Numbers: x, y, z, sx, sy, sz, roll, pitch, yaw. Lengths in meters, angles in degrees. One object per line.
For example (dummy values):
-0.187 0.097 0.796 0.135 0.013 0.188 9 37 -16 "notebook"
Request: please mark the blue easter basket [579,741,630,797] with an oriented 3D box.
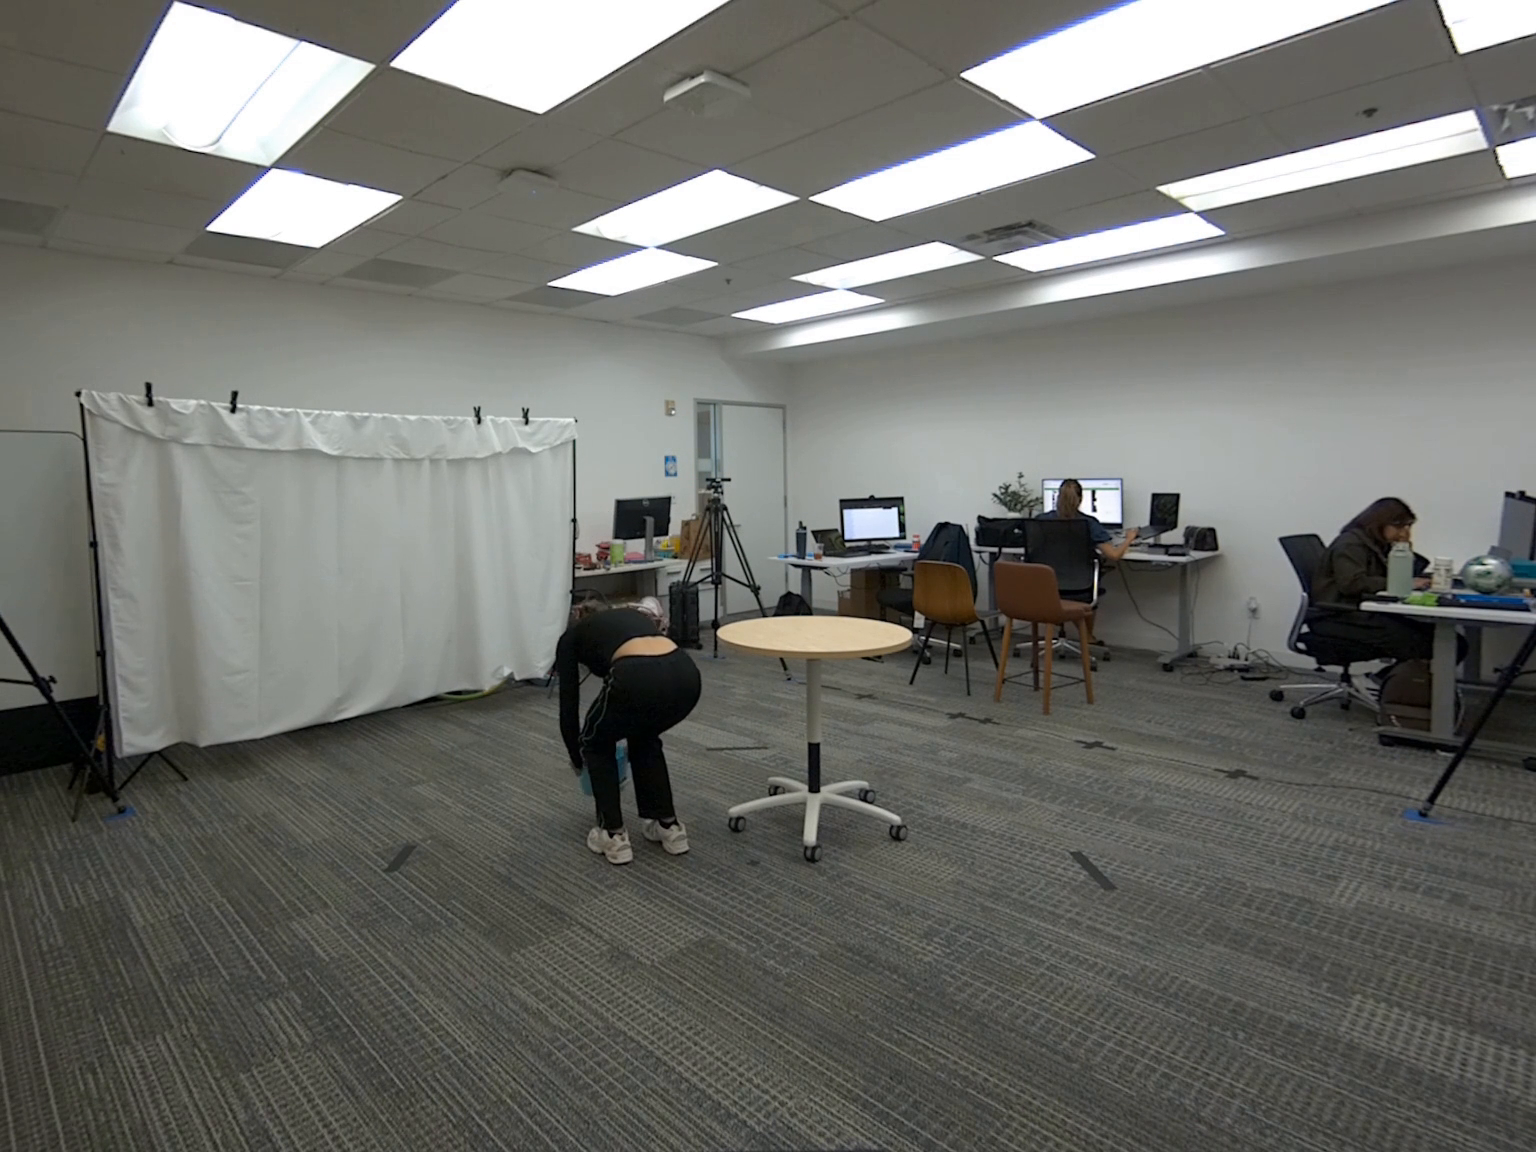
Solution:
-0.676 0.809 3.535 0.243 0.155 0.245 -4 5 -1 "blue easter basket"
